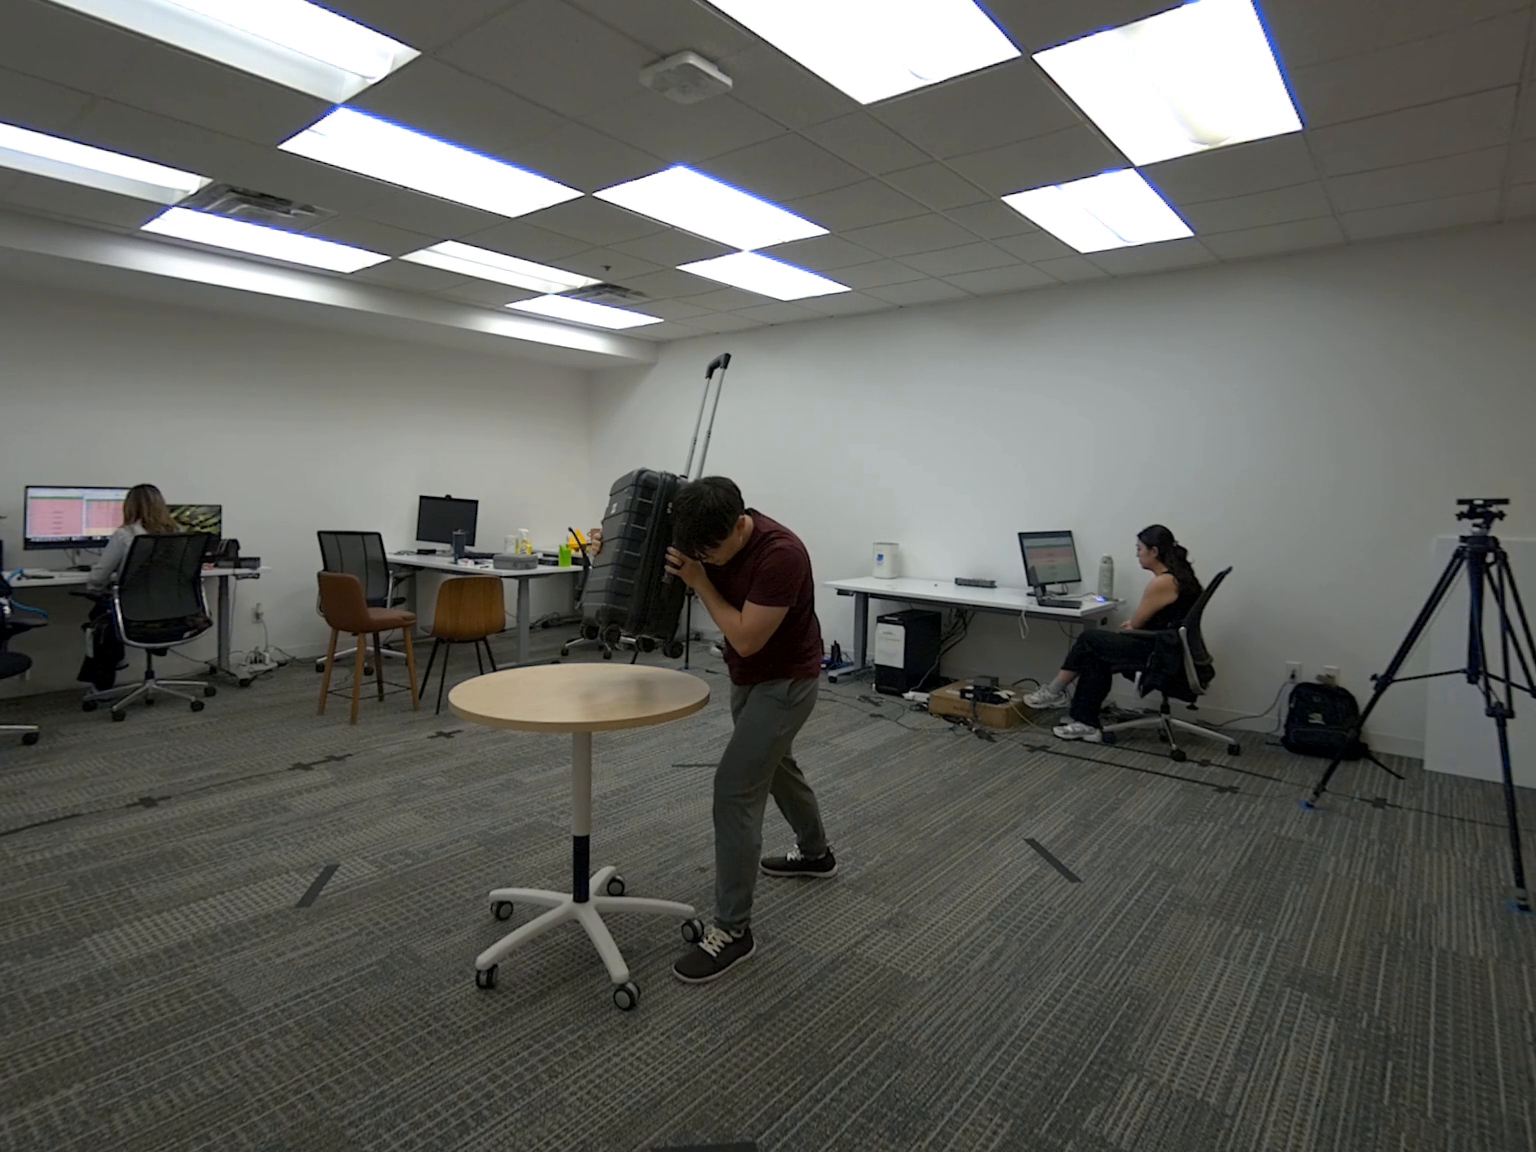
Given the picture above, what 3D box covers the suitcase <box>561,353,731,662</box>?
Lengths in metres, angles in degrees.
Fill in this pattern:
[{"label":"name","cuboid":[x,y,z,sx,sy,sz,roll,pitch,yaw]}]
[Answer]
[{"label":"suitcase","cuboid":[-0.360,-0.257,2.676,0.250,0.984,0.392,14,-8,-23]}]
